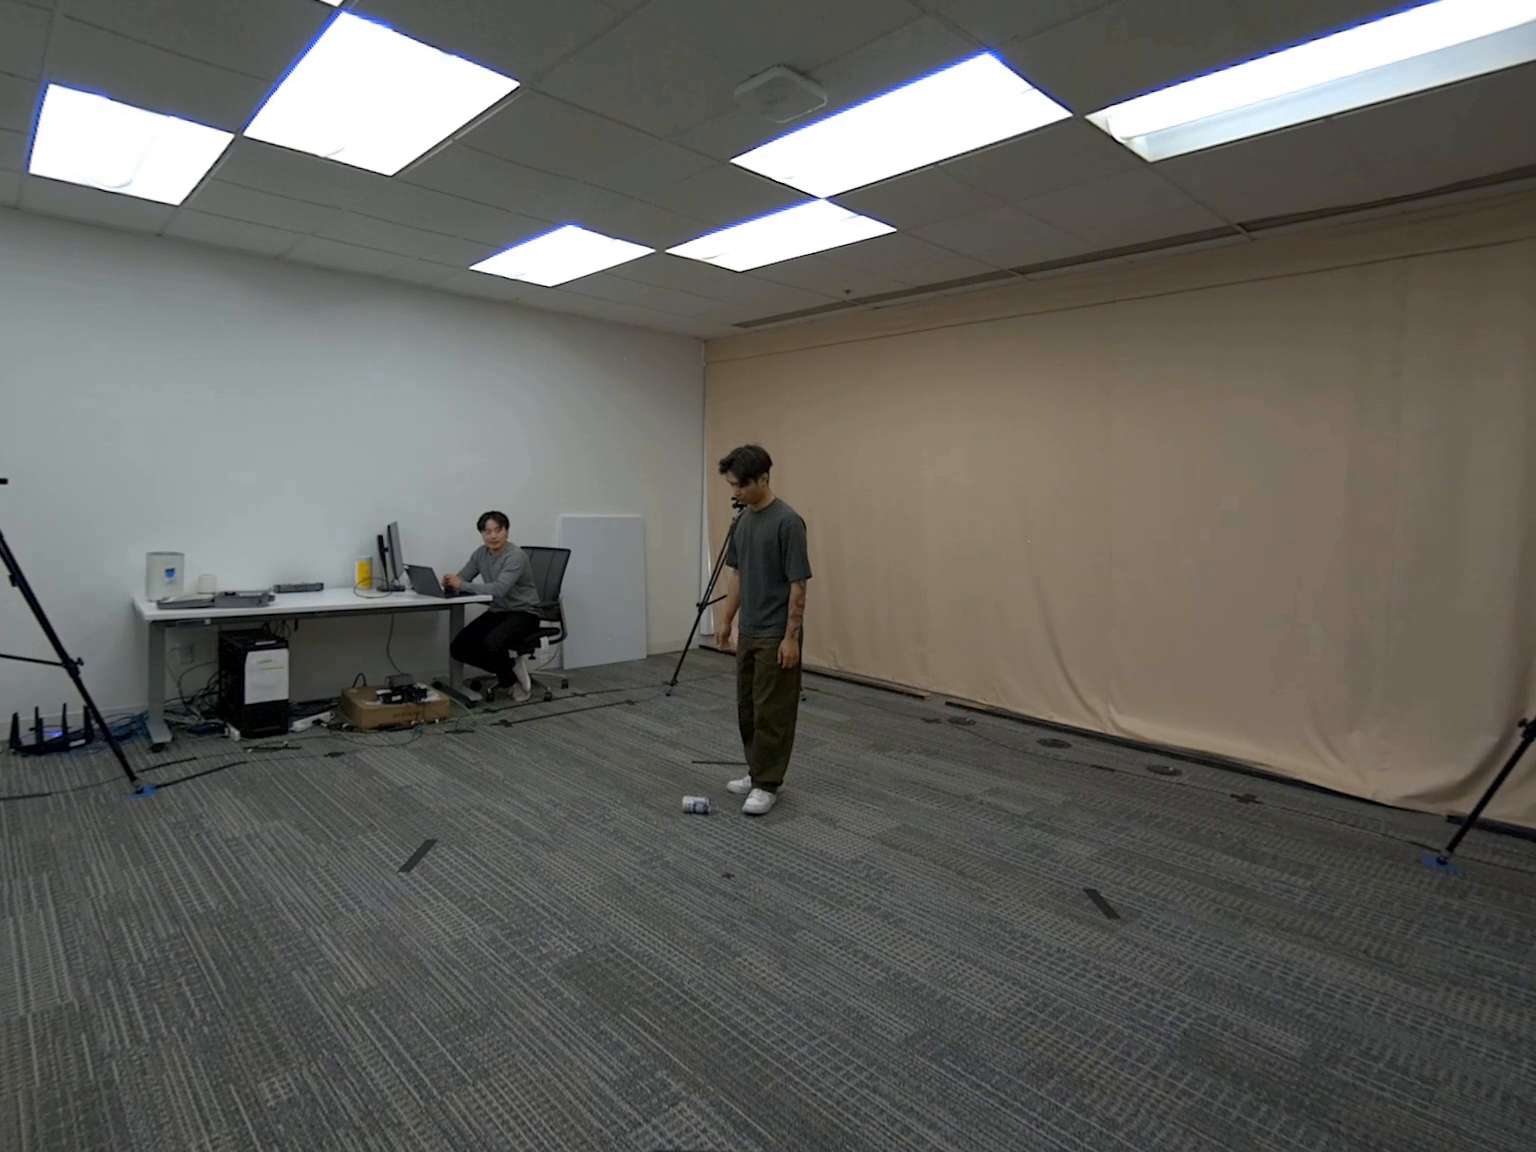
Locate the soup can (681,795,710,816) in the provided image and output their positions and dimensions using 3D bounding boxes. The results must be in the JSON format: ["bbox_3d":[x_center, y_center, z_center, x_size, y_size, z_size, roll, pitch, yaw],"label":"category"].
[{"bbox_3d":[-0.328,1.010,3.731,0.122,0.067,0.067,2,4,5],"label":"soup can"}]
